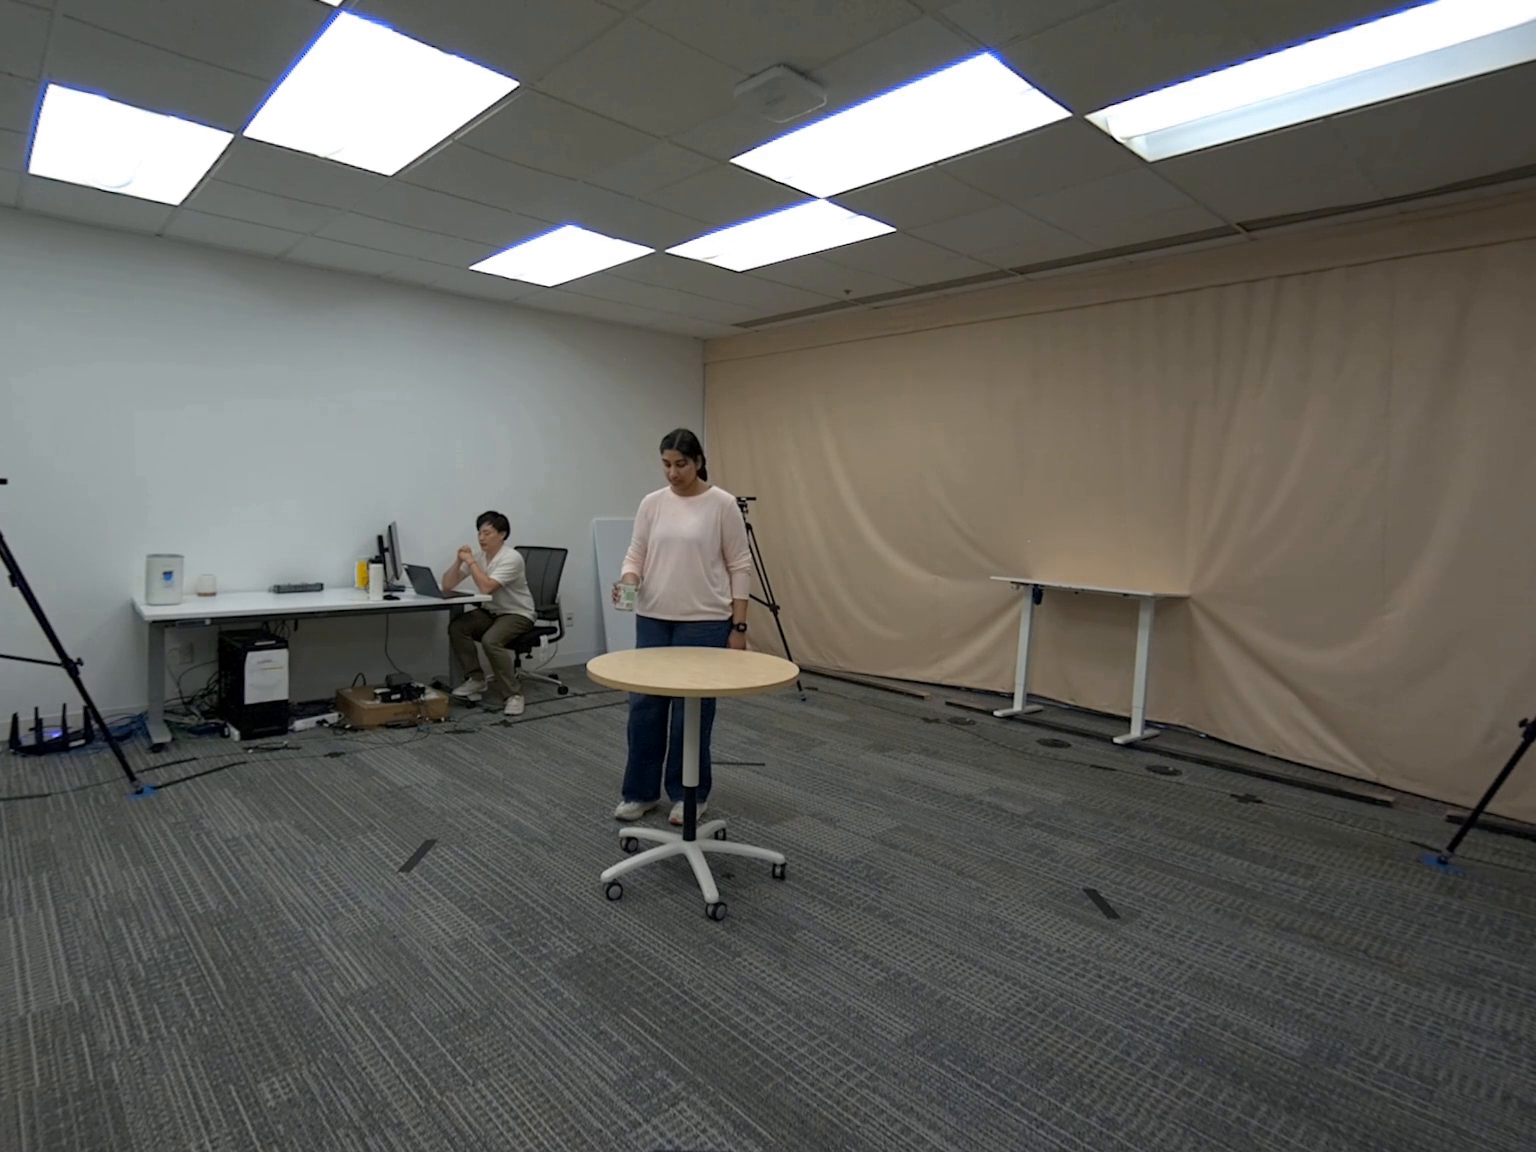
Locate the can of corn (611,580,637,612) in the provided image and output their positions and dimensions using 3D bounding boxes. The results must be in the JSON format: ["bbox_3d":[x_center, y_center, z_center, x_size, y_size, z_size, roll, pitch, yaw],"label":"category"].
[{"bbox_3d":[-0.590,0.084,3.385,0.074,0.111,0.074,5,2,-2],"label":"can of corn"}]
